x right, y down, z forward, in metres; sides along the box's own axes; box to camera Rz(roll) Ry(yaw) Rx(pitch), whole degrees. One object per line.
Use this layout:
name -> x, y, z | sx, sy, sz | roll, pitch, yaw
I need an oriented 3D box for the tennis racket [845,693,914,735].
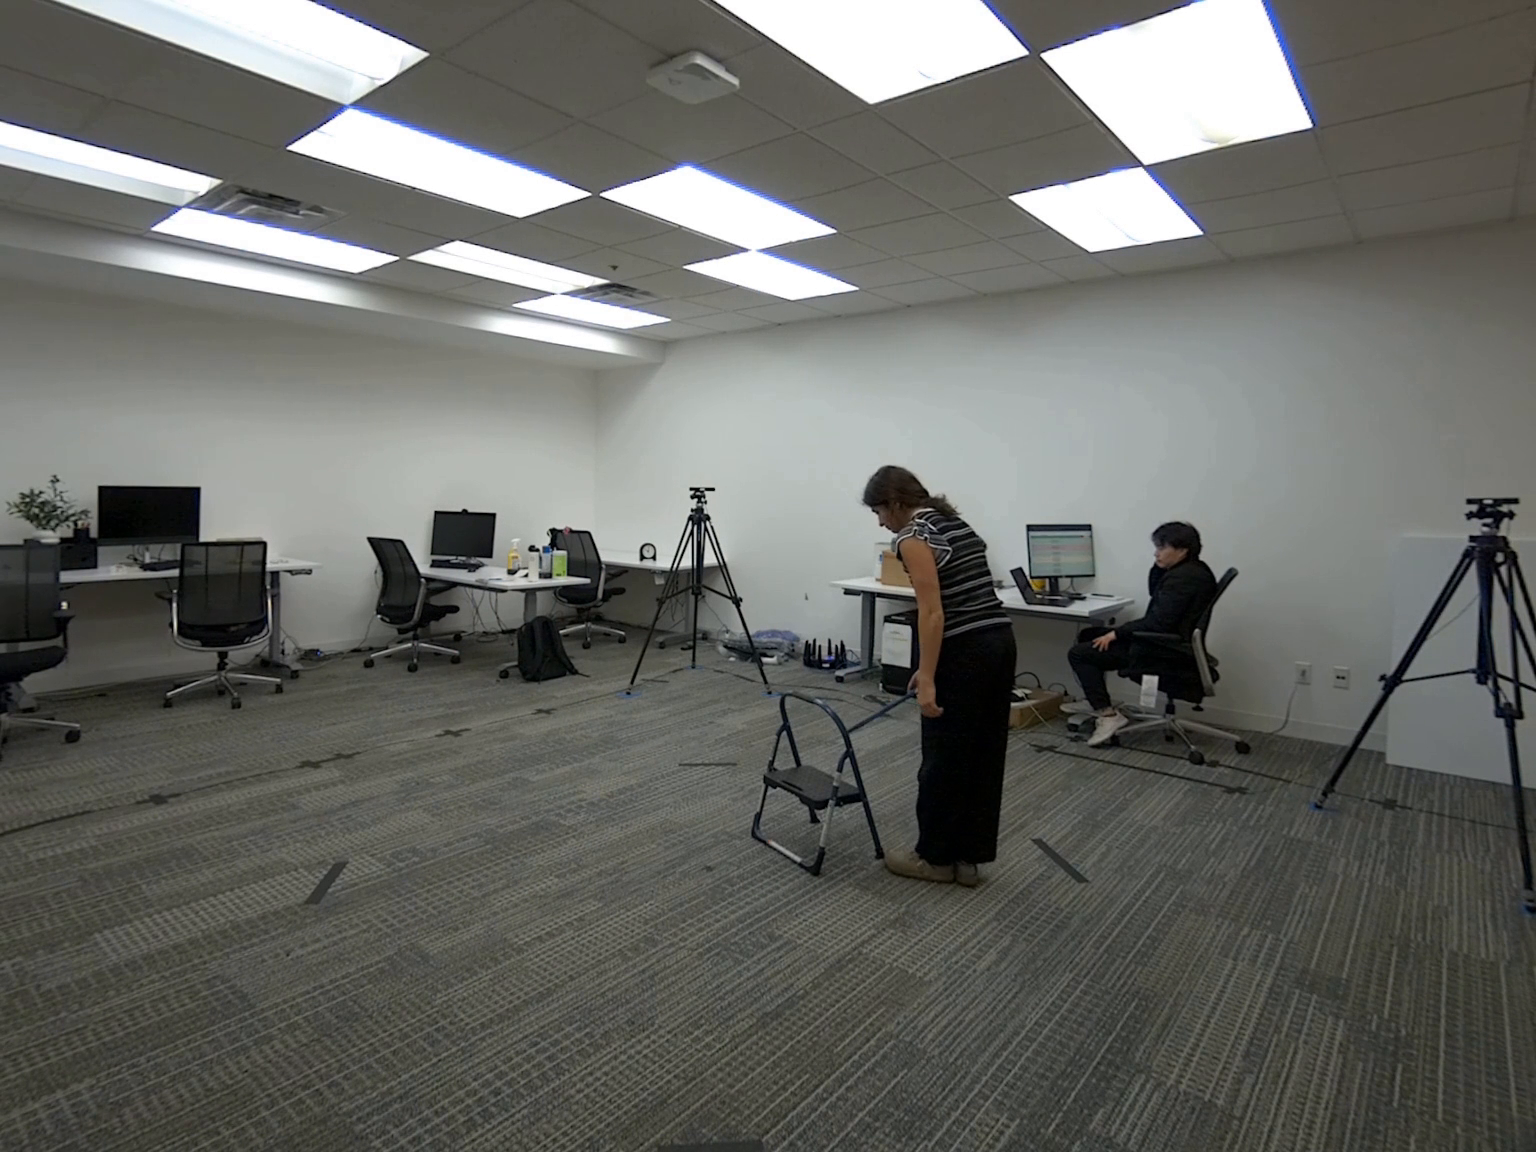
tennis racket -> 0.453, 0.514, 3.324 | 0.433, 0.032, 0.208 | -34, -15, 3
